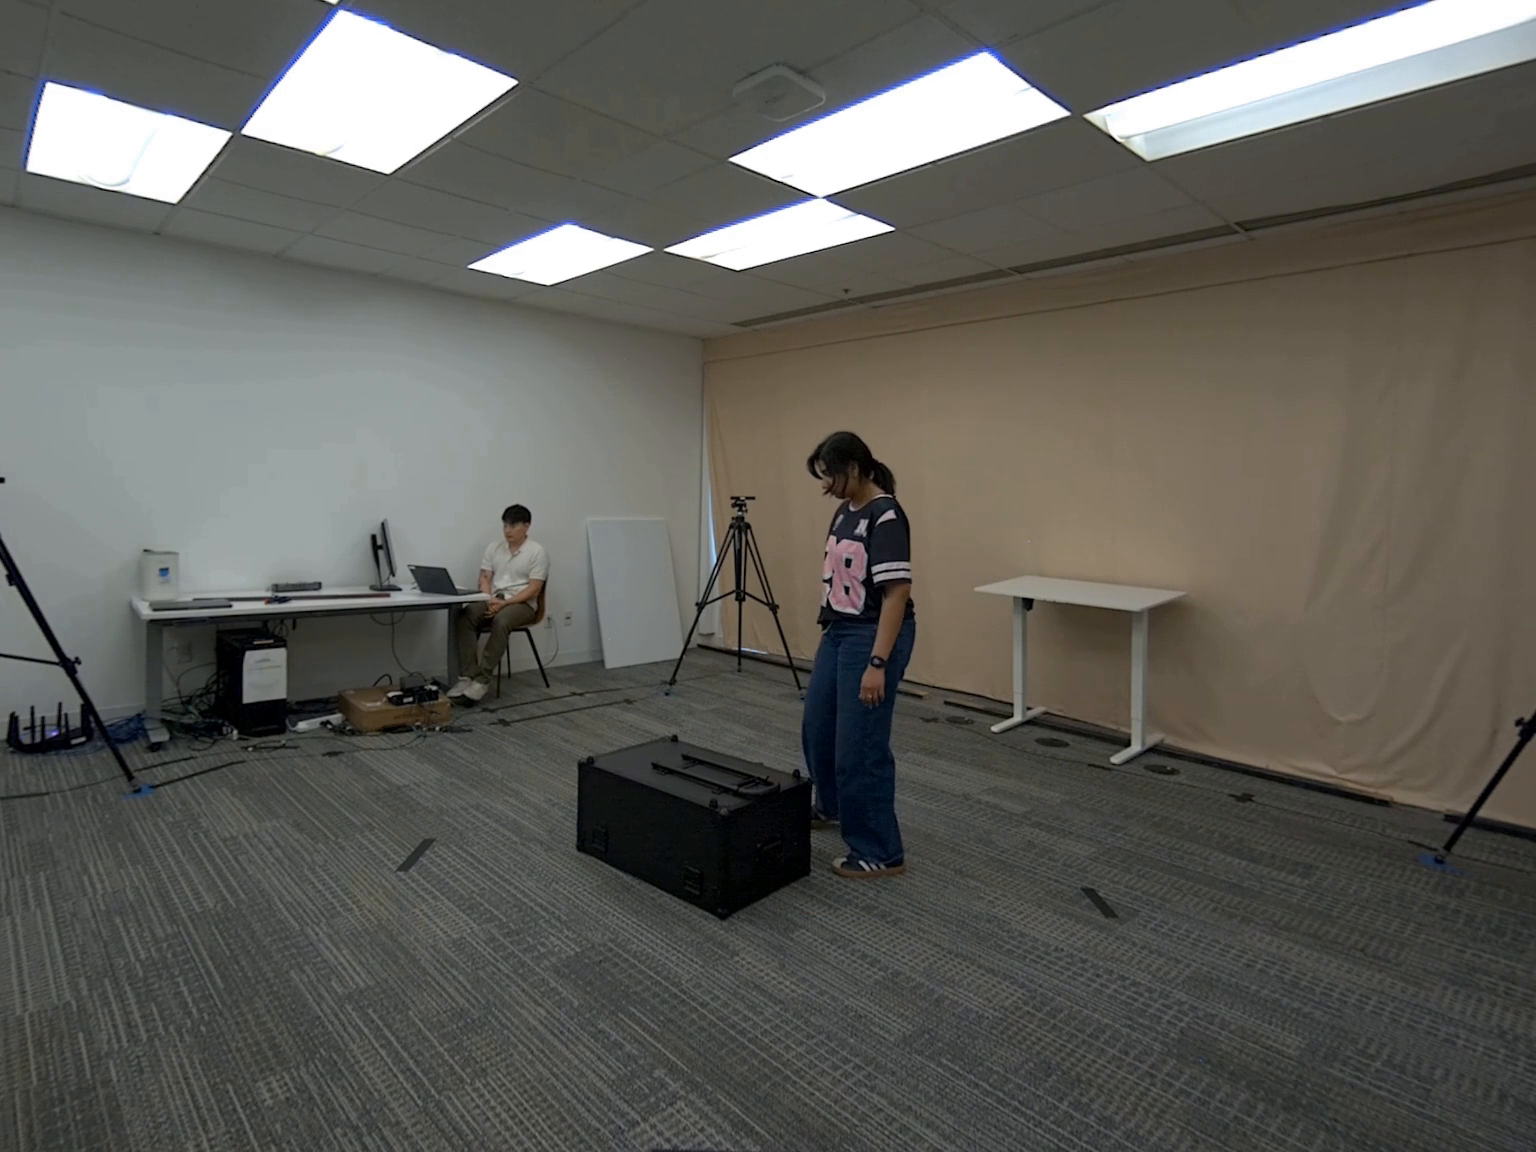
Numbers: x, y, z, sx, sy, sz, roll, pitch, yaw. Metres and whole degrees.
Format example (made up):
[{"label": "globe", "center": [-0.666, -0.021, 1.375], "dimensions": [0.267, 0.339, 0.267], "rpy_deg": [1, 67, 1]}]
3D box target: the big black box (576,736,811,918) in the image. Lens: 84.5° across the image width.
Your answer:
[{"label": "big black box", "center": [-0.329, 0.902, 3.212], "dimensions": [0.891, 0.384, 0.512], "rpy_deg": [6, 8, 40]}]
